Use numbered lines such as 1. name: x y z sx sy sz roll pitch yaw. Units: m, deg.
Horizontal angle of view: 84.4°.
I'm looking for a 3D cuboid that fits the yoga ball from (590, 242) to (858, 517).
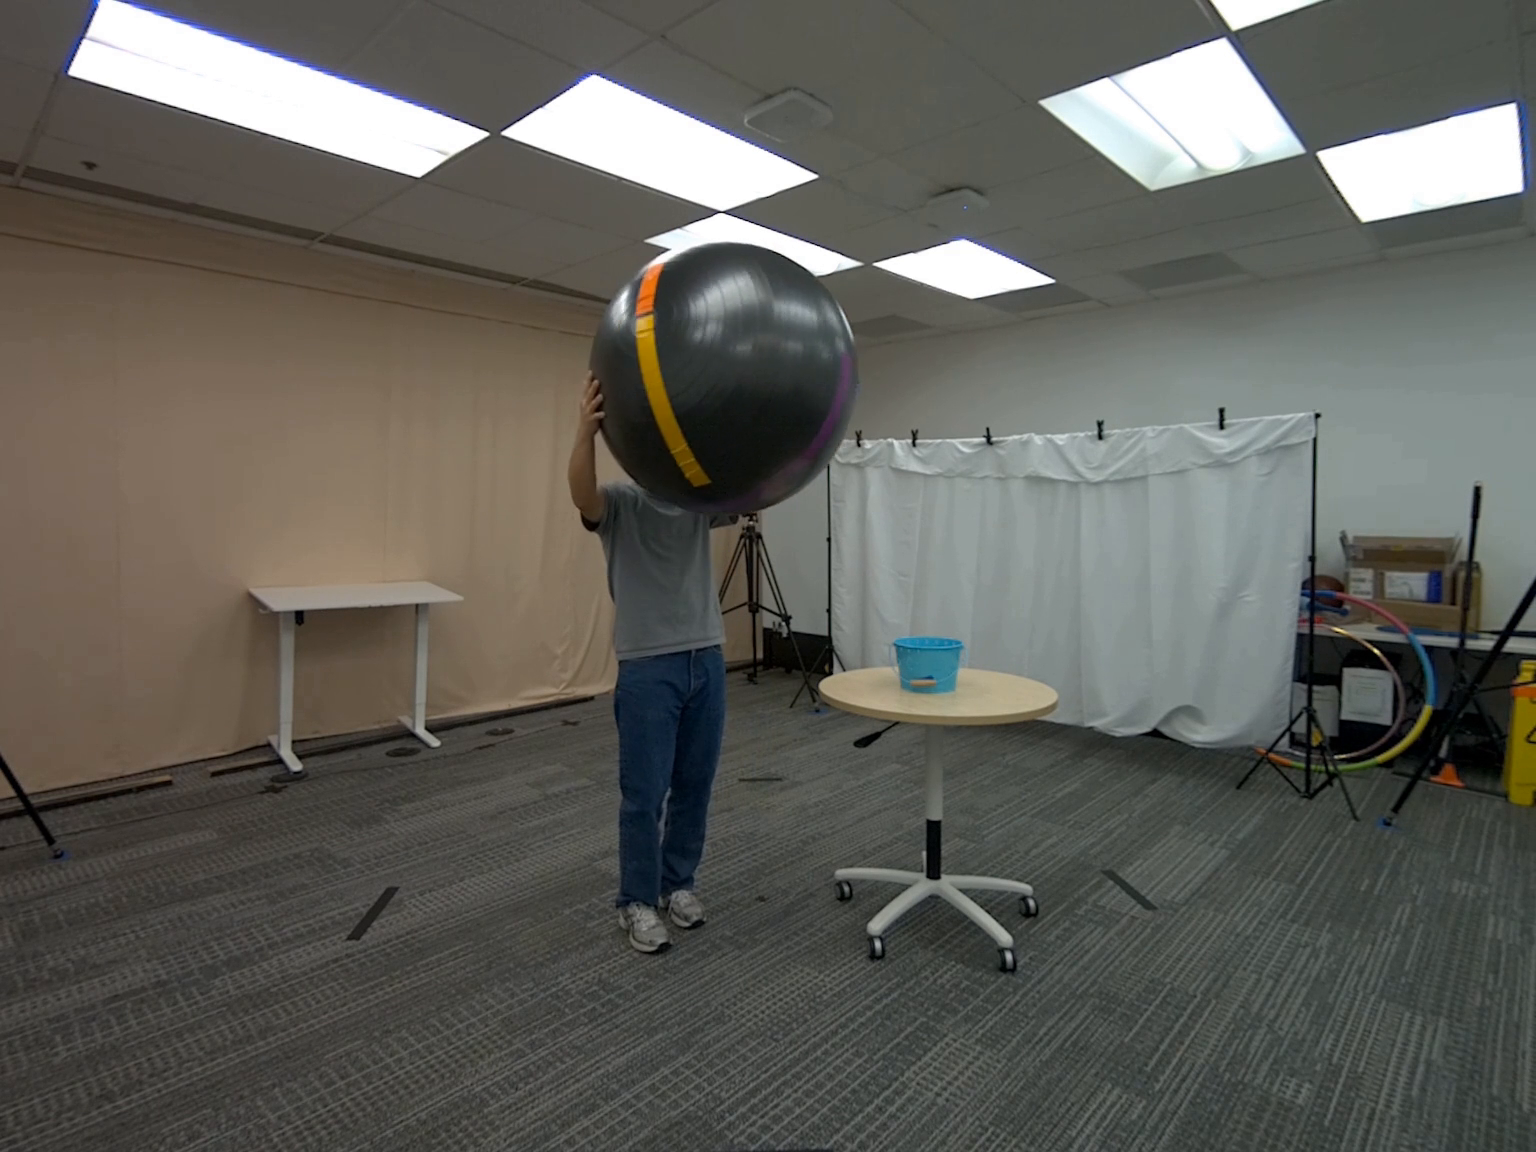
1. yoga ball: -0.129 -0.547 2.384 0.757 0.756 0.760 0 4 -2
